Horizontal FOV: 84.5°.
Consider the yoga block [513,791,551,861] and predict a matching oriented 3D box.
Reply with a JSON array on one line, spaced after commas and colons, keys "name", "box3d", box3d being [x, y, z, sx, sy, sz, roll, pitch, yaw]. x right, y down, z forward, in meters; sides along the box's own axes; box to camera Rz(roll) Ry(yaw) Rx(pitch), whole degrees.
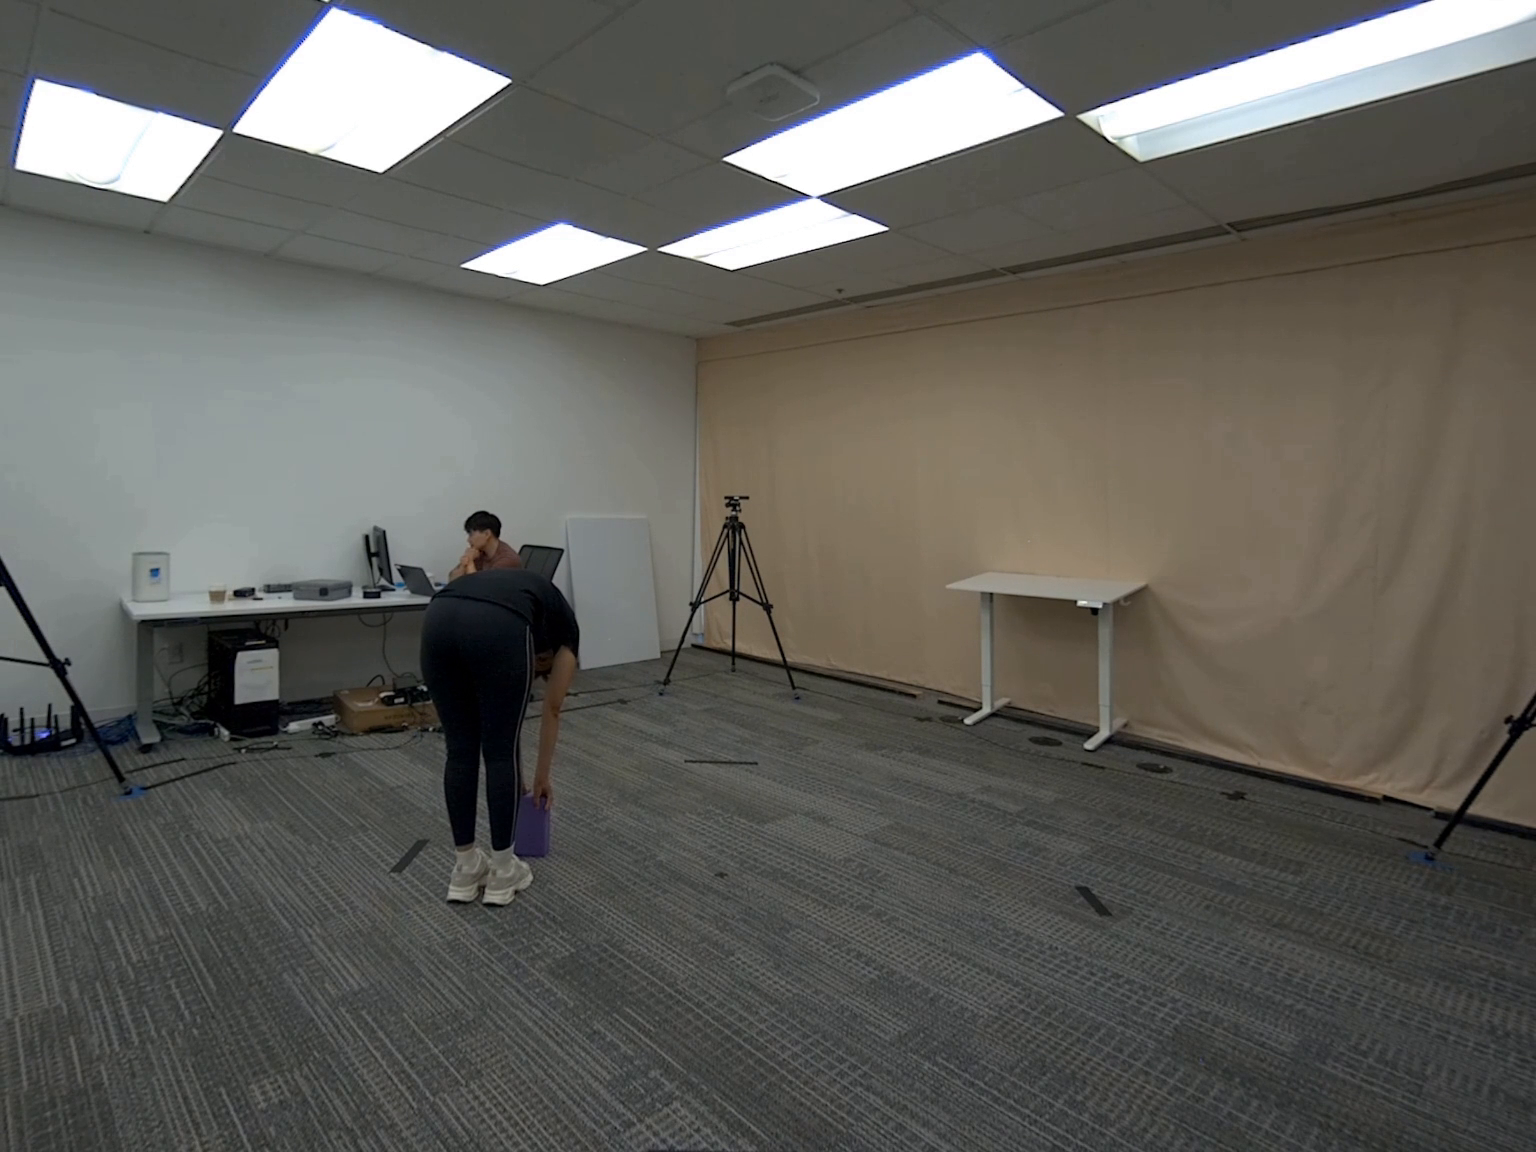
[{"name": "yoga block", "box3d": [-0.931, 0.966, 3.256, 0.149, 0.229, 0.076, 3, 4, 5]}]
